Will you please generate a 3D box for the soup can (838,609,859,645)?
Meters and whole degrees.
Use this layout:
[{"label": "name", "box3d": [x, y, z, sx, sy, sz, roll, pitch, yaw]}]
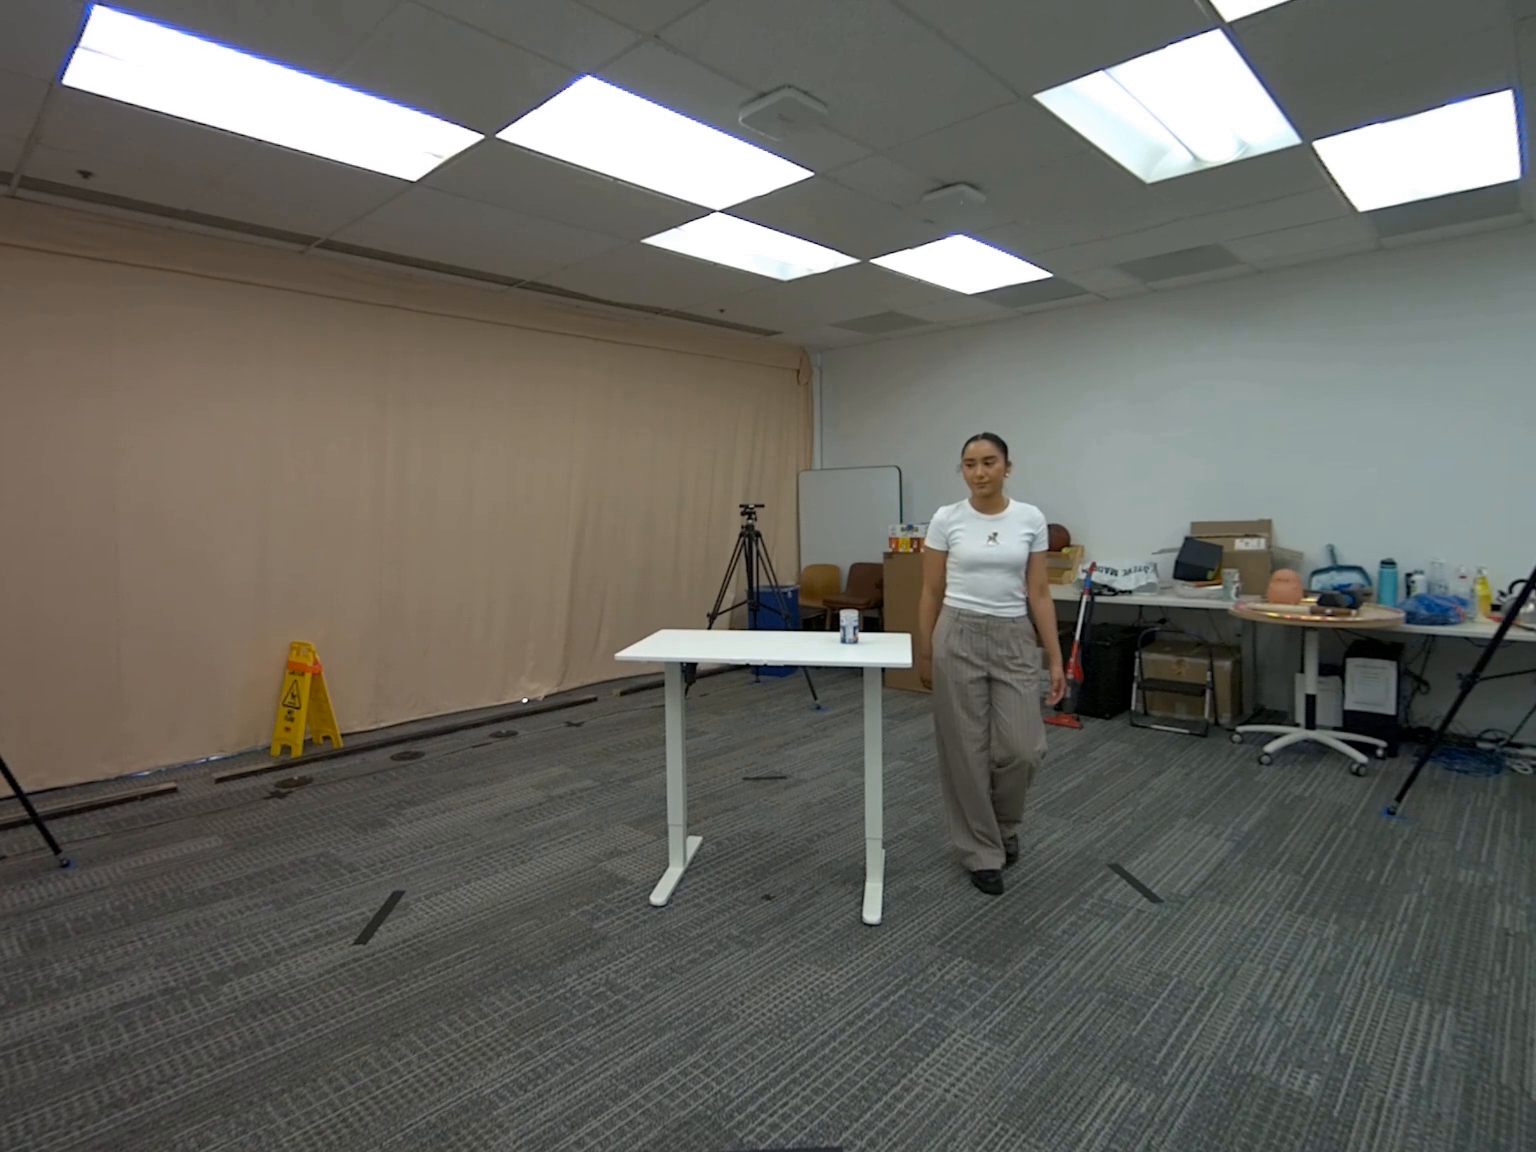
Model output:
[{"label": "soup can", "box3d": [0.302, 0.189, 3.079, 0.067, 0.121, 0.067, 1, 2, -2]}]
